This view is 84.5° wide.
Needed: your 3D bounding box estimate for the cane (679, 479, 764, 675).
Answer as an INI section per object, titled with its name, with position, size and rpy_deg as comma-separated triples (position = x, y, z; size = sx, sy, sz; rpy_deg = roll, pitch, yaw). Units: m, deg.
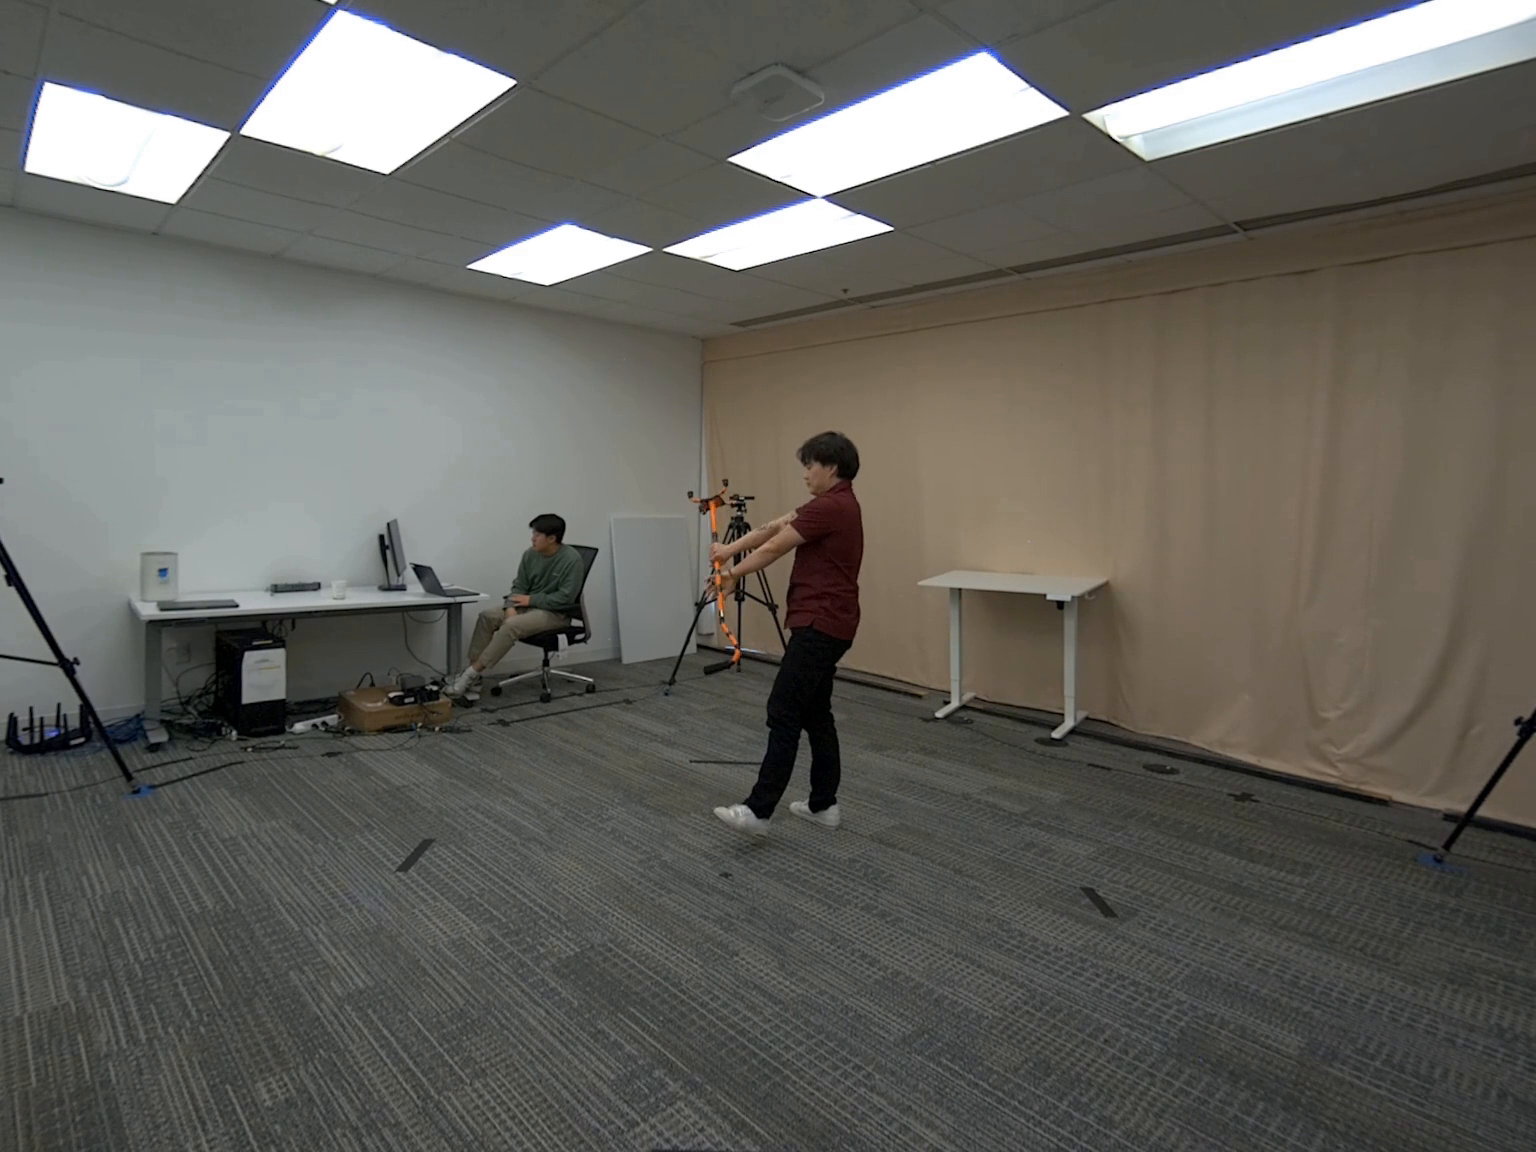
[cane]
position = -0.217, 0.002, 3.626
size = 0.208, 0.929, 0.147
rpy_deg = -18, -37, 17
